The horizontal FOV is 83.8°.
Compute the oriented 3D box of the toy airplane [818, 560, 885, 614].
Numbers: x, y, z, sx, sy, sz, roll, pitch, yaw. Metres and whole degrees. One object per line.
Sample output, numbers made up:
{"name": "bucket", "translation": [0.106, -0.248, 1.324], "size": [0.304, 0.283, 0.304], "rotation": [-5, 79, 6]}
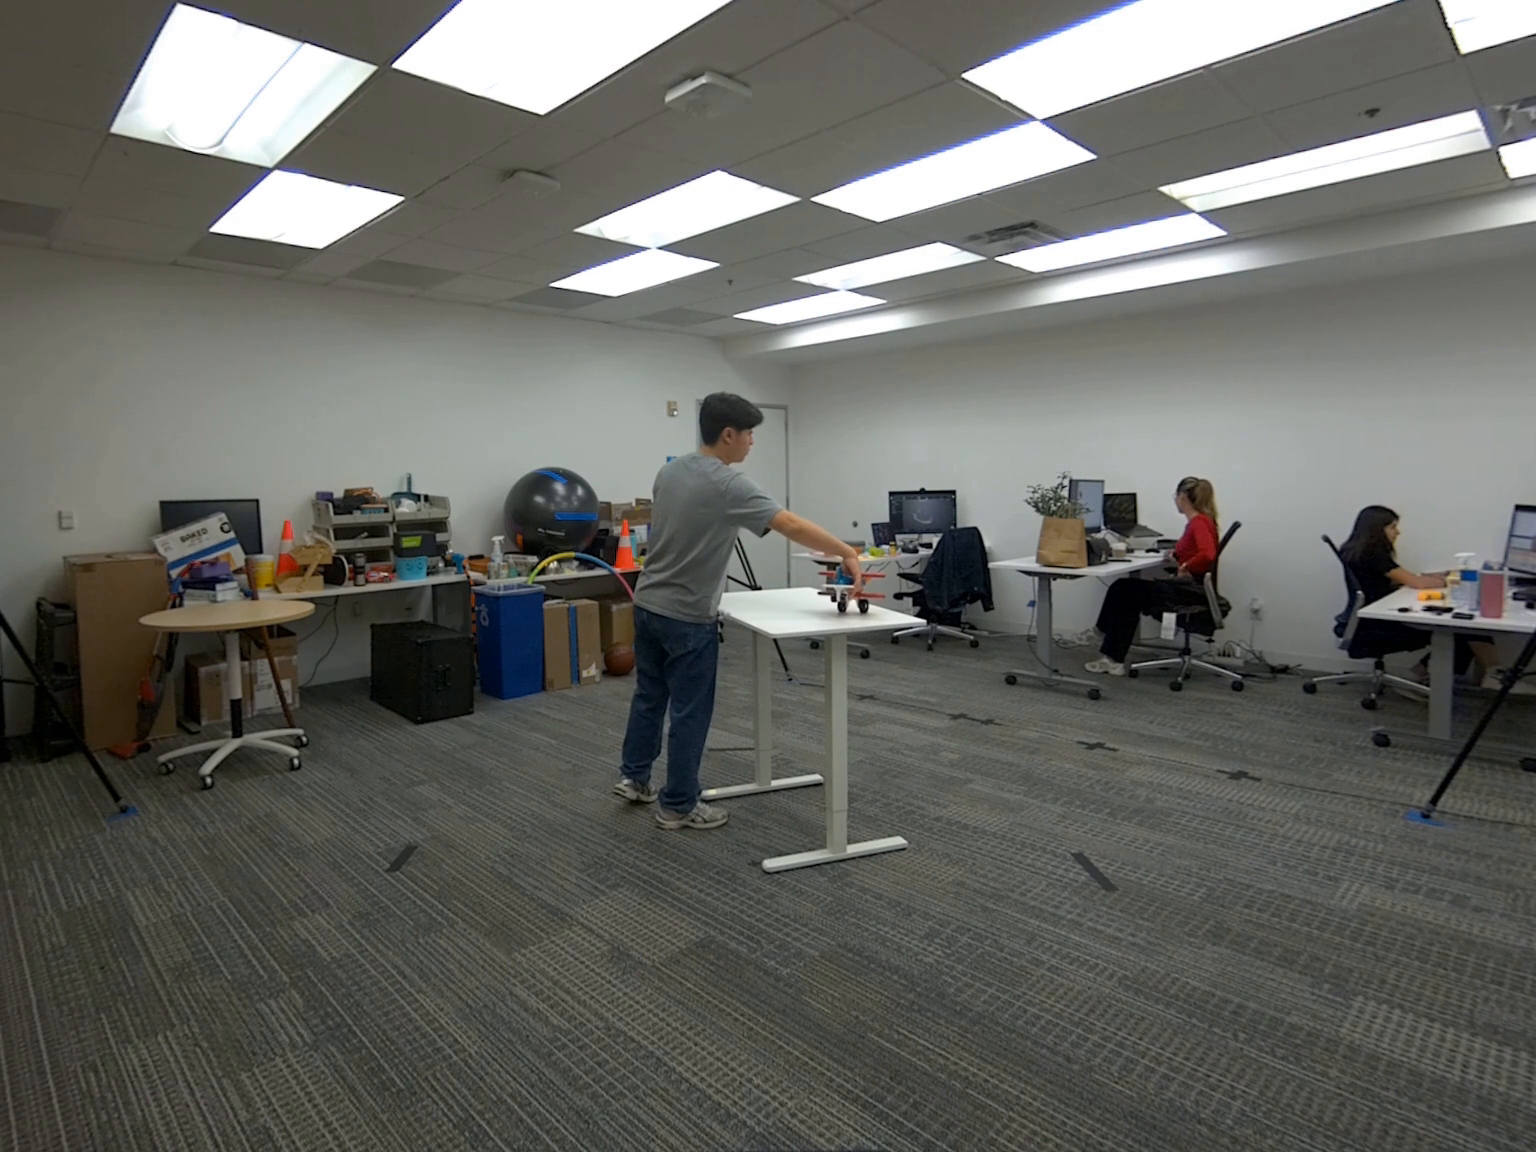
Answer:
{"name": "toy airplane", "translation": [0.318, 0.047, 3.194], "size": [0.250, 0.158, 0.257], "rotation": [8, -13, -3]}
